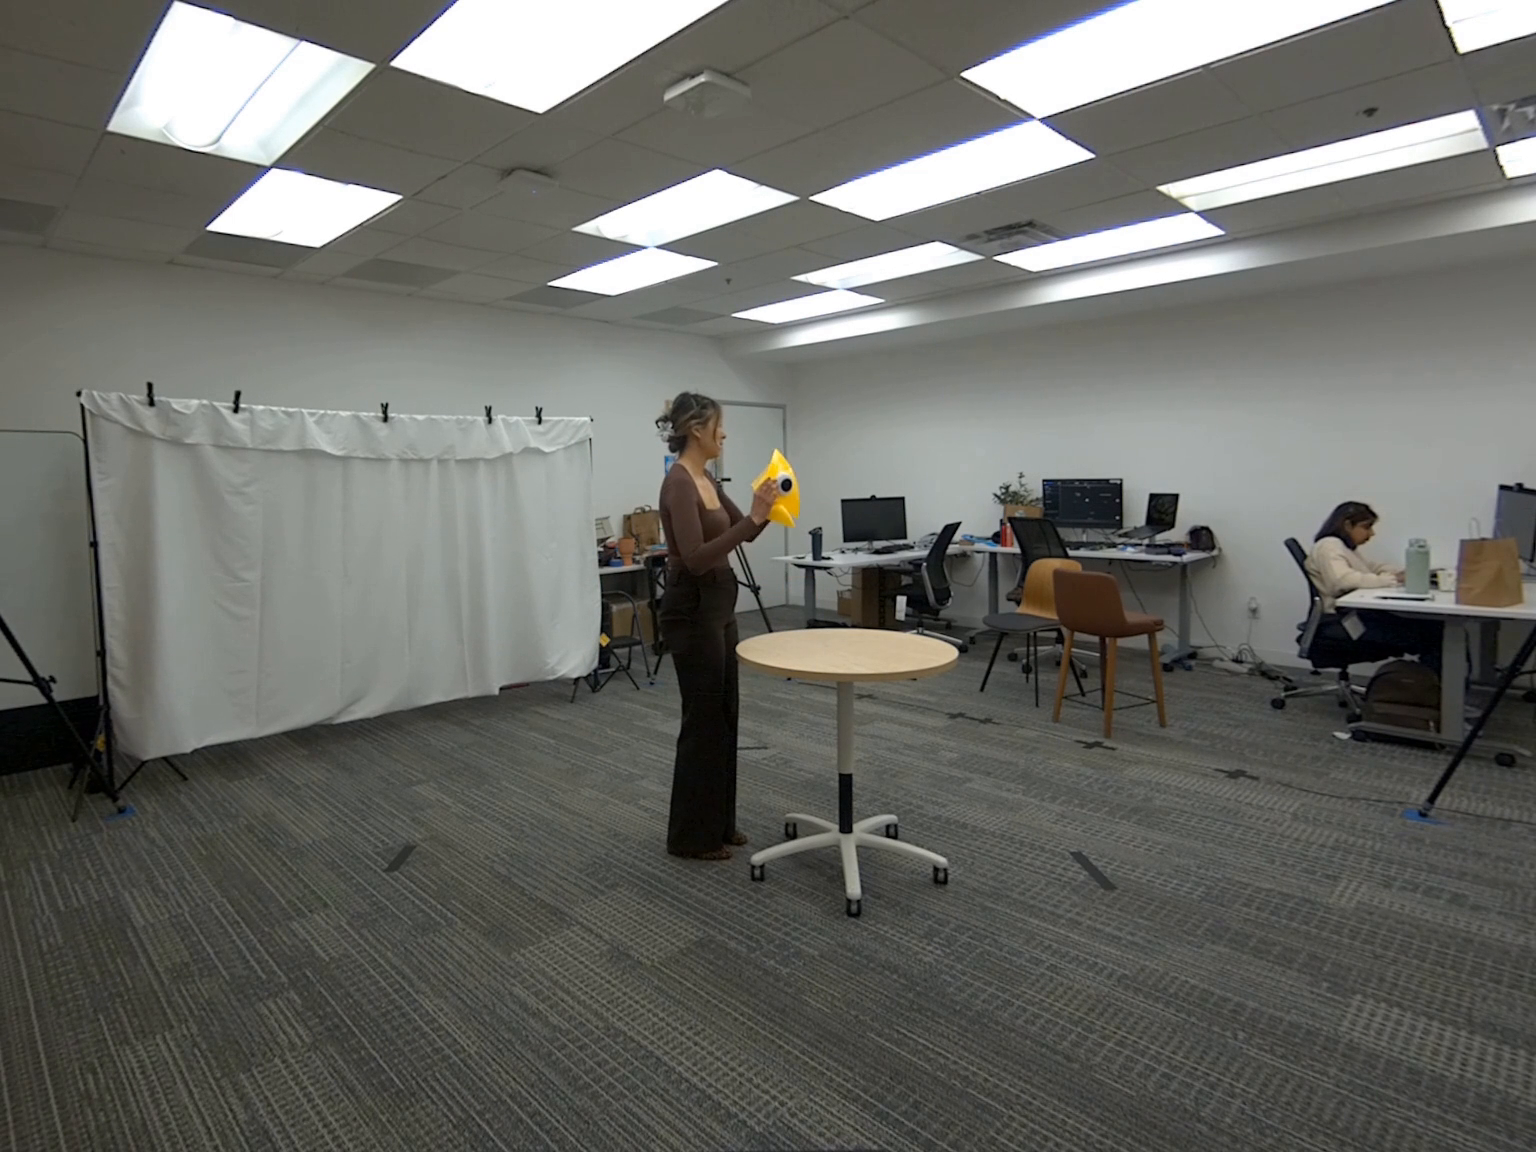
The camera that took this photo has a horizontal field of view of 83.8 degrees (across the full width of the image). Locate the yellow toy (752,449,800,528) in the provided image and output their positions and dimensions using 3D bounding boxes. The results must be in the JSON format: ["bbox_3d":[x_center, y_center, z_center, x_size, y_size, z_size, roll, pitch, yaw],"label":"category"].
[{"bbox_3d":[0.040,-0.314,3.002,0.193,0.229,0.206,19,10,-3],"label":"yellow toy"}]
